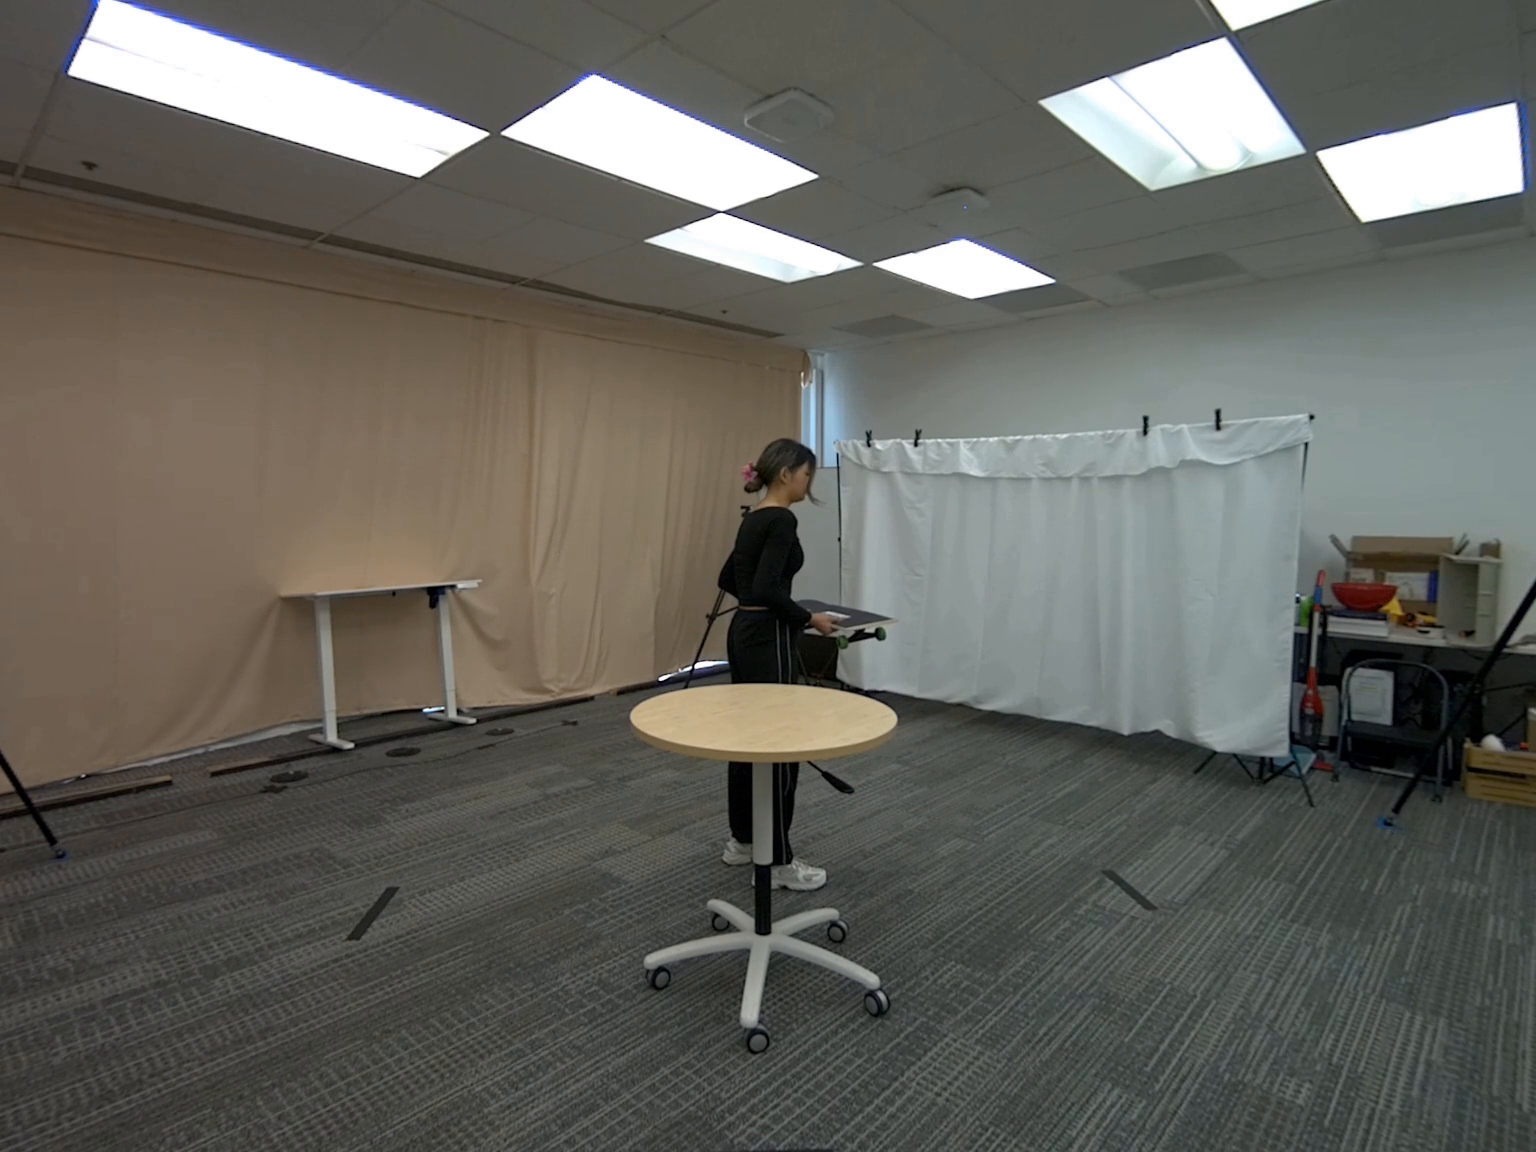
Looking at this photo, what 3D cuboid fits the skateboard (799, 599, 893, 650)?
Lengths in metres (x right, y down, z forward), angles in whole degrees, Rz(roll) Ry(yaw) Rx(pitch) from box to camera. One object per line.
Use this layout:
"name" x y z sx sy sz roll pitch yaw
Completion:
"skateboard" 0.266 0.186 3.231 0.190 0.110 0.803 -11 8 -21
